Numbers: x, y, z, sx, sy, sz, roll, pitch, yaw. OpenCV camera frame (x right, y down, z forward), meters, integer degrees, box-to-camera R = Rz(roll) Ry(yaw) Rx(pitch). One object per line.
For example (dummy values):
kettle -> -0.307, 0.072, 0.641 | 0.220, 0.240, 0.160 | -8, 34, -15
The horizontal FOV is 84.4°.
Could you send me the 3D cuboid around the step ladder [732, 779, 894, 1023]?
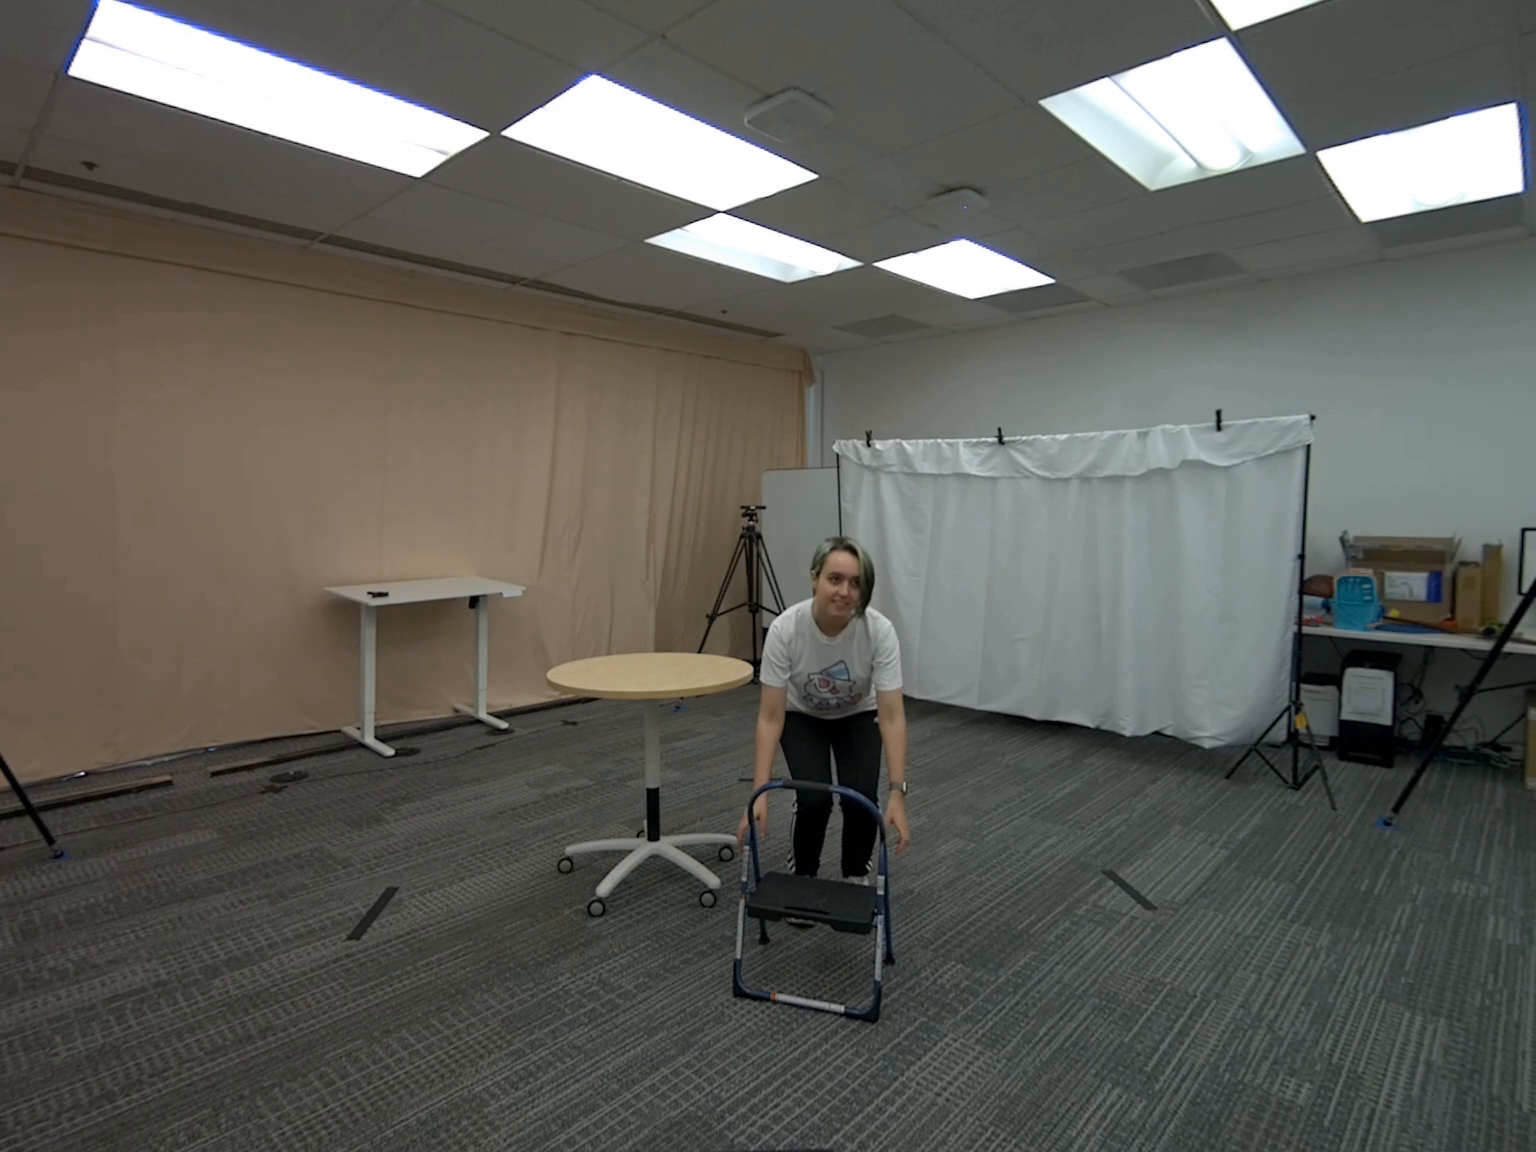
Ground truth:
step ladder -> 0.139, 0.882, 2.468 | 0.438, 0.605, 0.343 | 1, 3, 17
